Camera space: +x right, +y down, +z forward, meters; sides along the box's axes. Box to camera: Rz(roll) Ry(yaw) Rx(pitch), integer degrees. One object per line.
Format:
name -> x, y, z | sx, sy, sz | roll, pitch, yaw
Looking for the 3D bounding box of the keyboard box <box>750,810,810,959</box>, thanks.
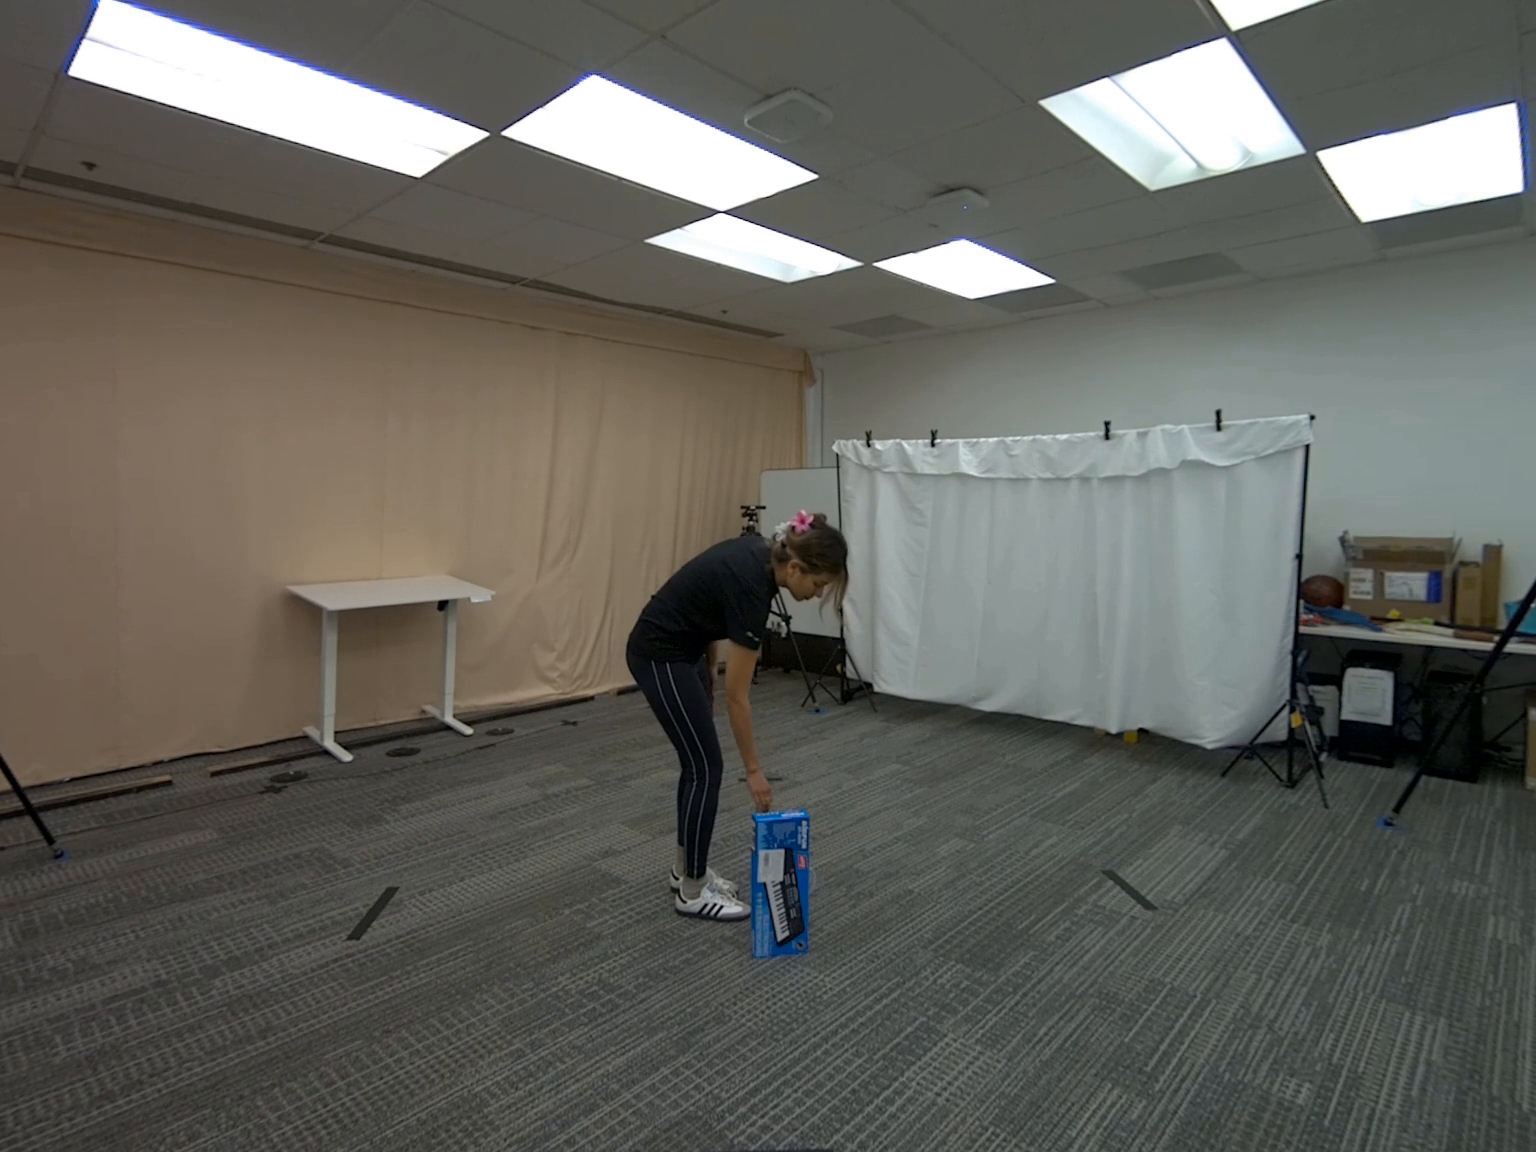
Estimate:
keyboard box -> 0.039, 0.956, 2.616 | 0.174, 0.435, 0.060 | 0, 5, -11
